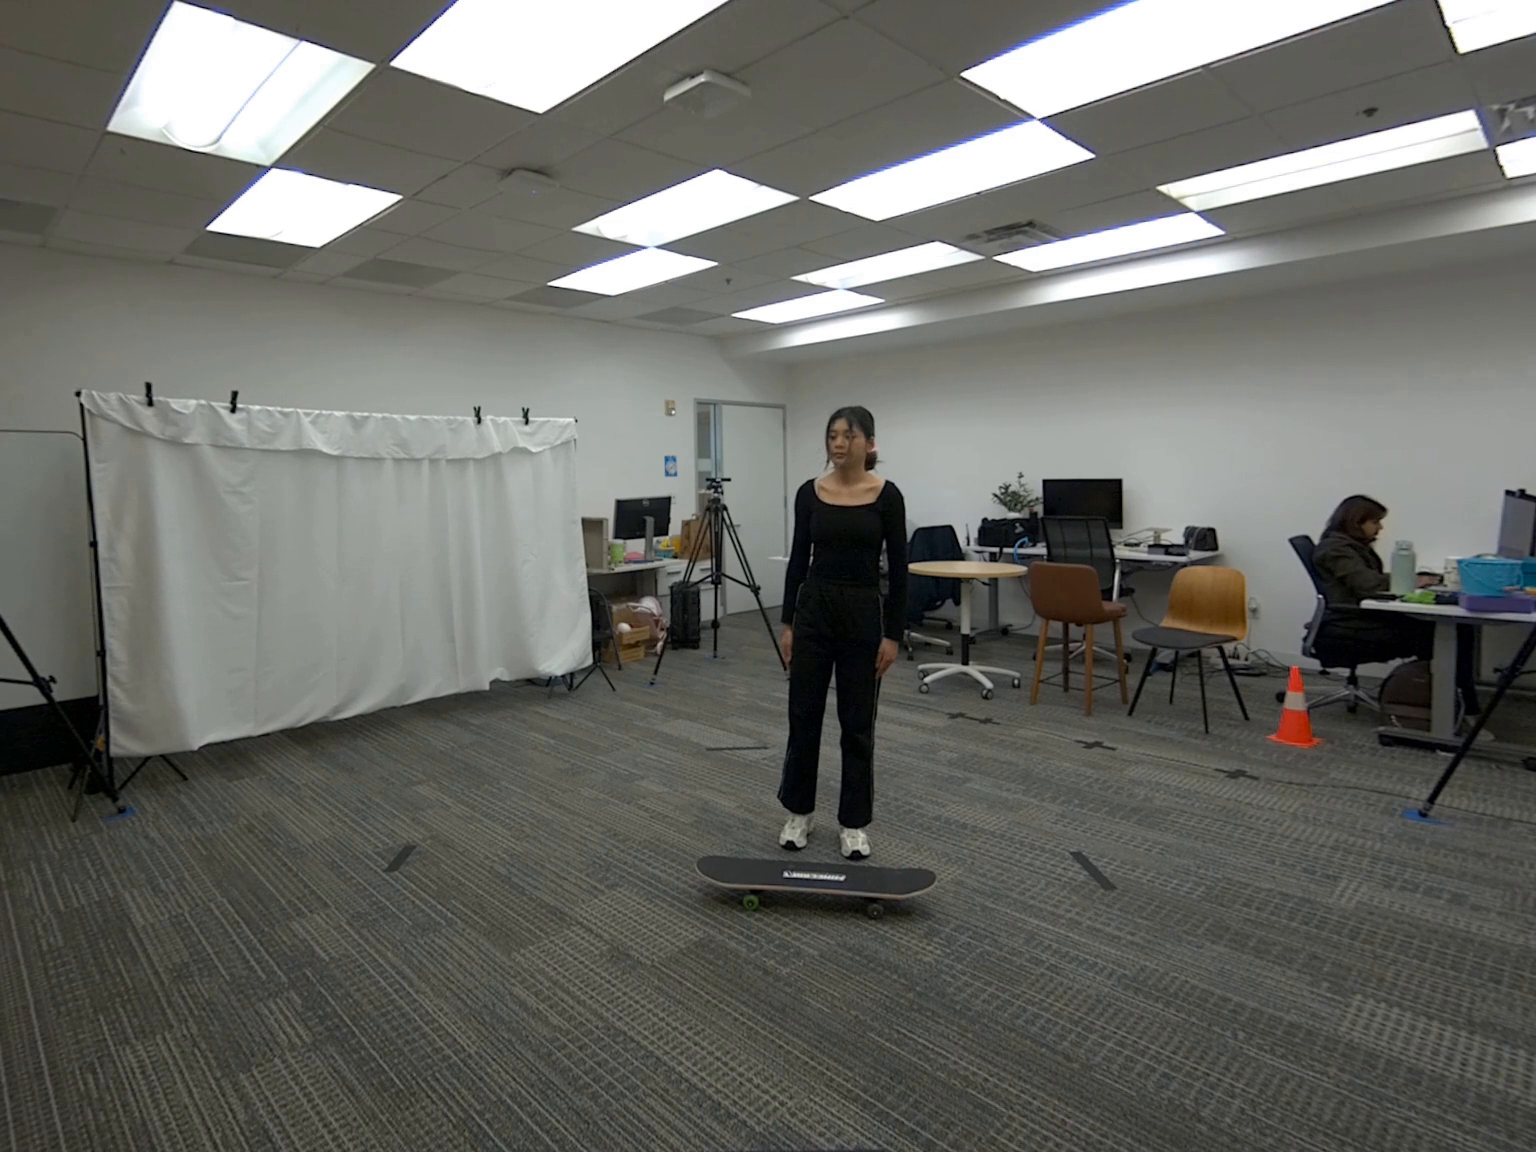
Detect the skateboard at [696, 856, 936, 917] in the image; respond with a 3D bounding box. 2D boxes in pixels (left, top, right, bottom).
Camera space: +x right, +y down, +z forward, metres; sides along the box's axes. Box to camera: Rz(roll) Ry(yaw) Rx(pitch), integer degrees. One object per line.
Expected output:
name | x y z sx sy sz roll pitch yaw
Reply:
skateboard | 0.150 1.013 2.809 0.793 0.110 0.192 0 6 10
